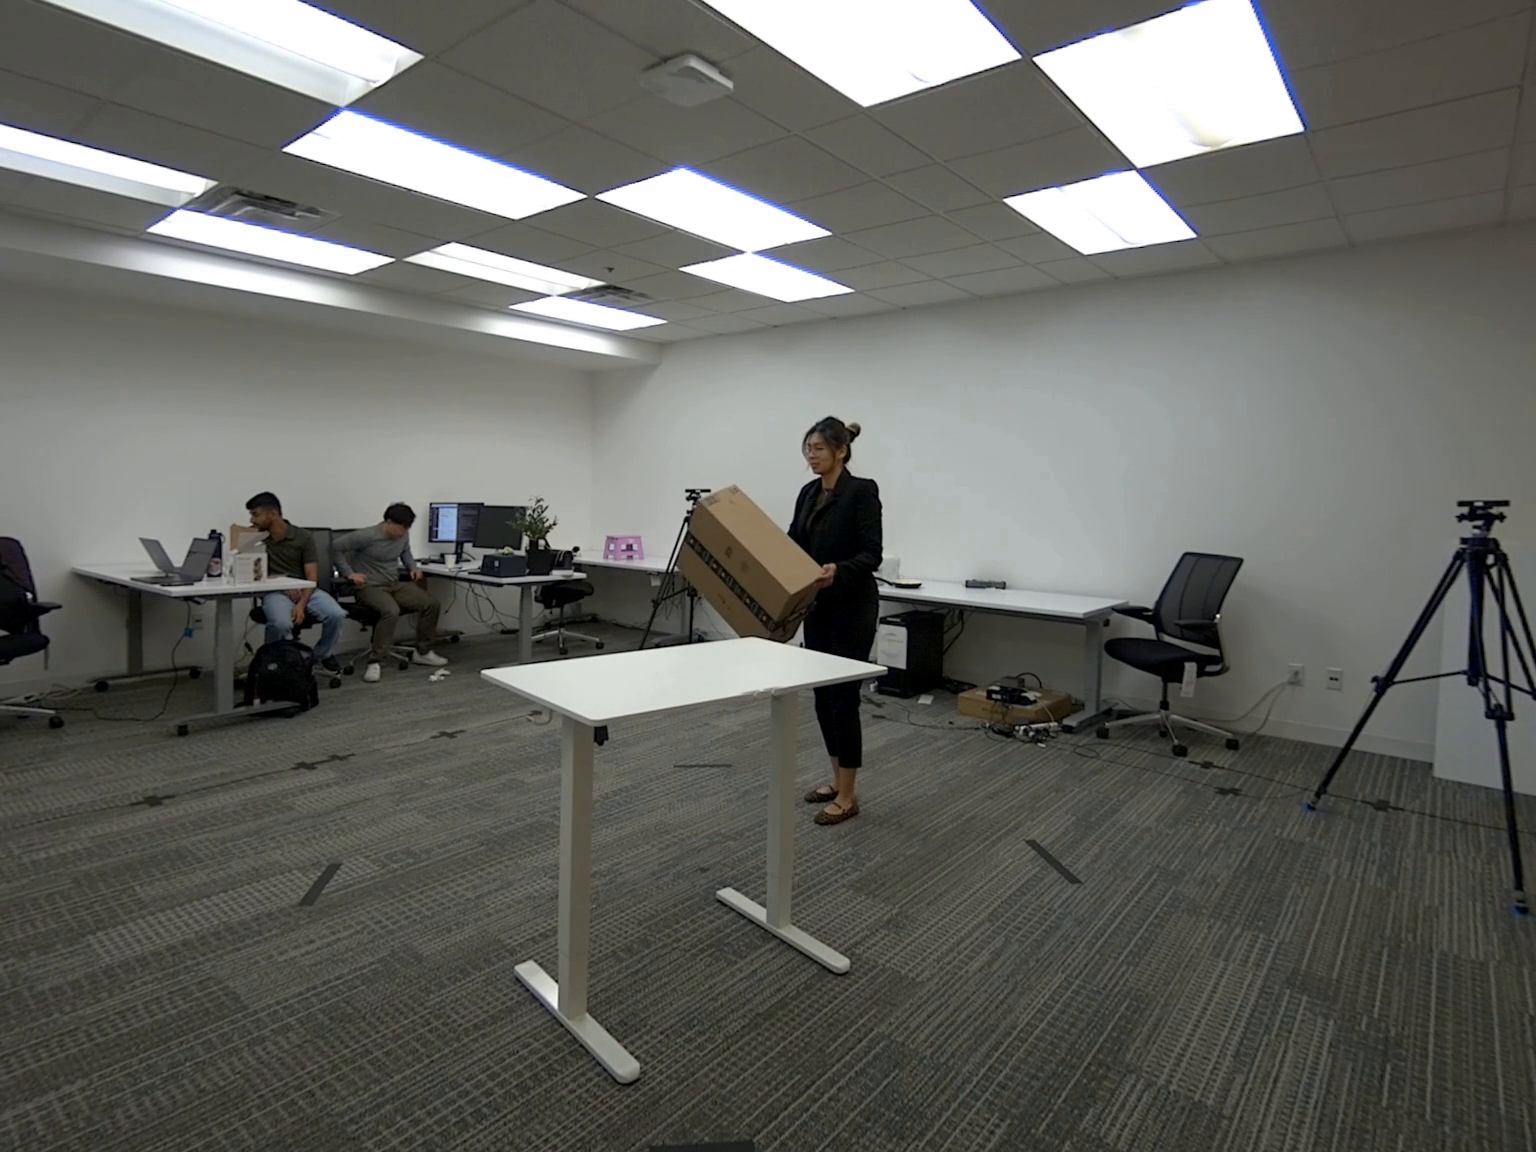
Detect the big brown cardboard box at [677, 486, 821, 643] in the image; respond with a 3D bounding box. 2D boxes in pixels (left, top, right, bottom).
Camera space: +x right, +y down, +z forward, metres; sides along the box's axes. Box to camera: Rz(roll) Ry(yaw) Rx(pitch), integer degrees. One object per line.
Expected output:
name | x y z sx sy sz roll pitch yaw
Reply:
big brown cardboard box | -0.093 -0.020 3.537 0.229 0.411 0.607 -26 62 -38
